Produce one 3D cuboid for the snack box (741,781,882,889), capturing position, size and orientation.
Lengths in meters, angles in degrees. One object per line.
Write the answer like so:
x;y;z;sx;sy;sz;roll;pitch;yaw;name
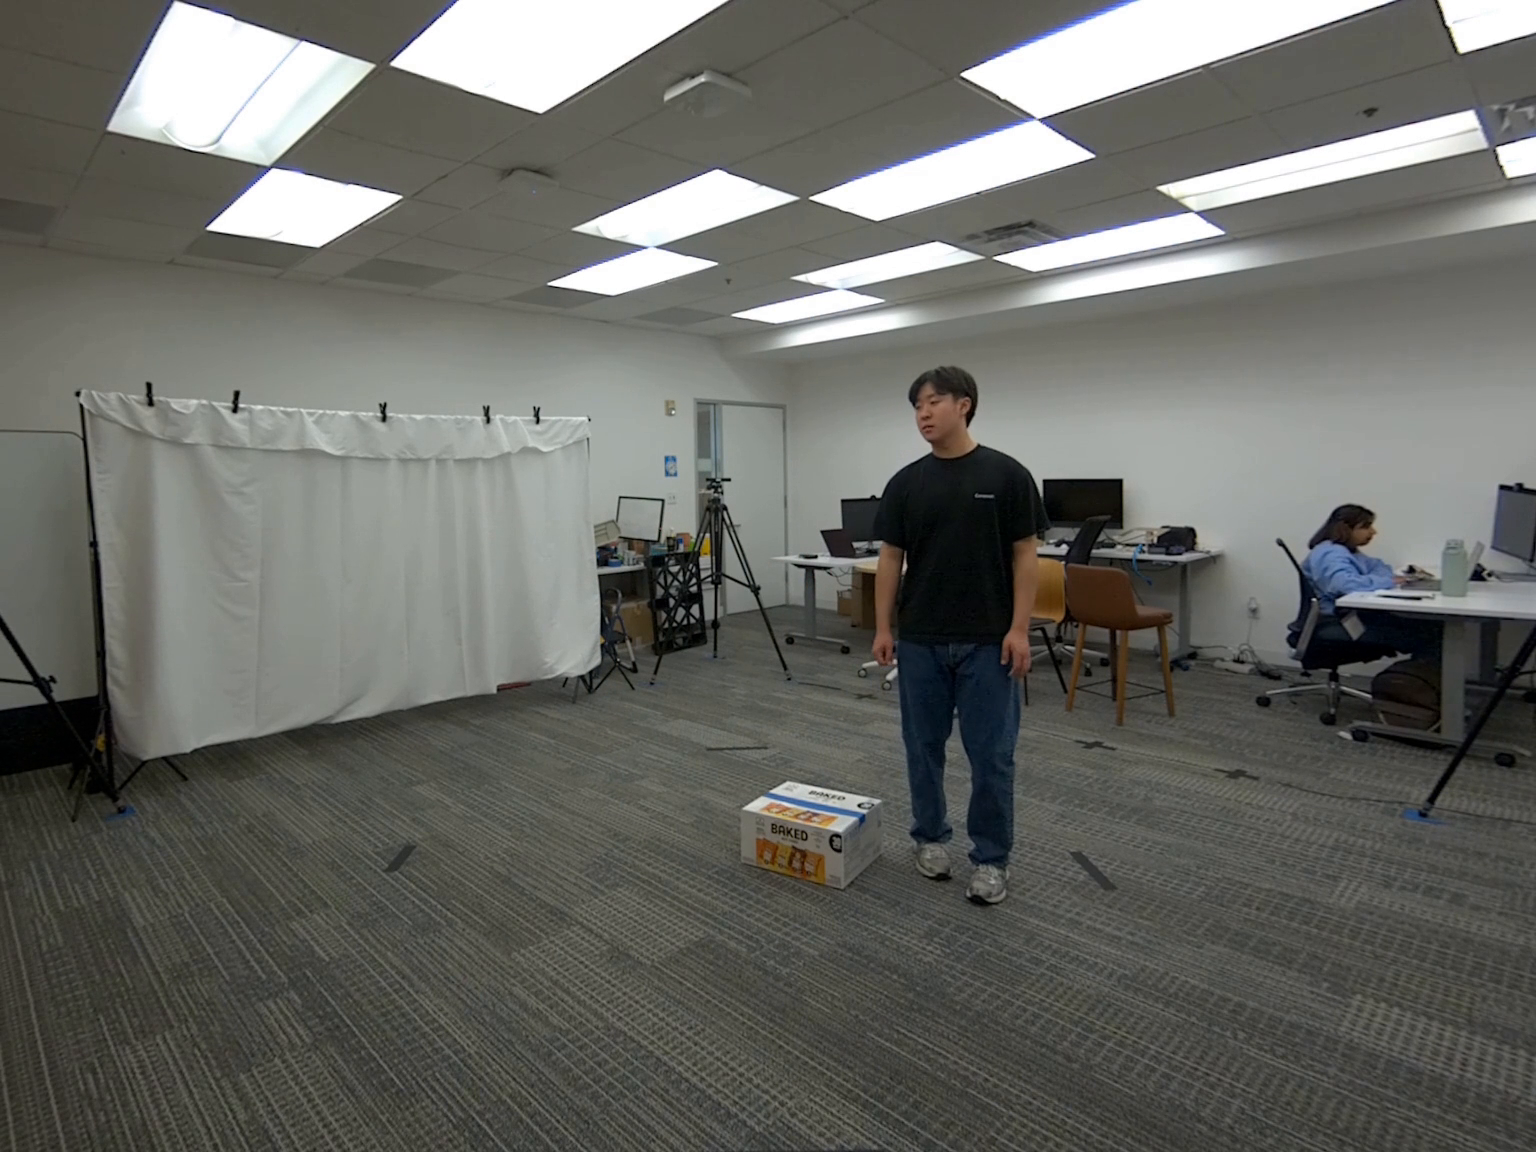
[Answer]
0.168;0.934;3.124;0.416;0.205;0.332;2;6;32;snack box
